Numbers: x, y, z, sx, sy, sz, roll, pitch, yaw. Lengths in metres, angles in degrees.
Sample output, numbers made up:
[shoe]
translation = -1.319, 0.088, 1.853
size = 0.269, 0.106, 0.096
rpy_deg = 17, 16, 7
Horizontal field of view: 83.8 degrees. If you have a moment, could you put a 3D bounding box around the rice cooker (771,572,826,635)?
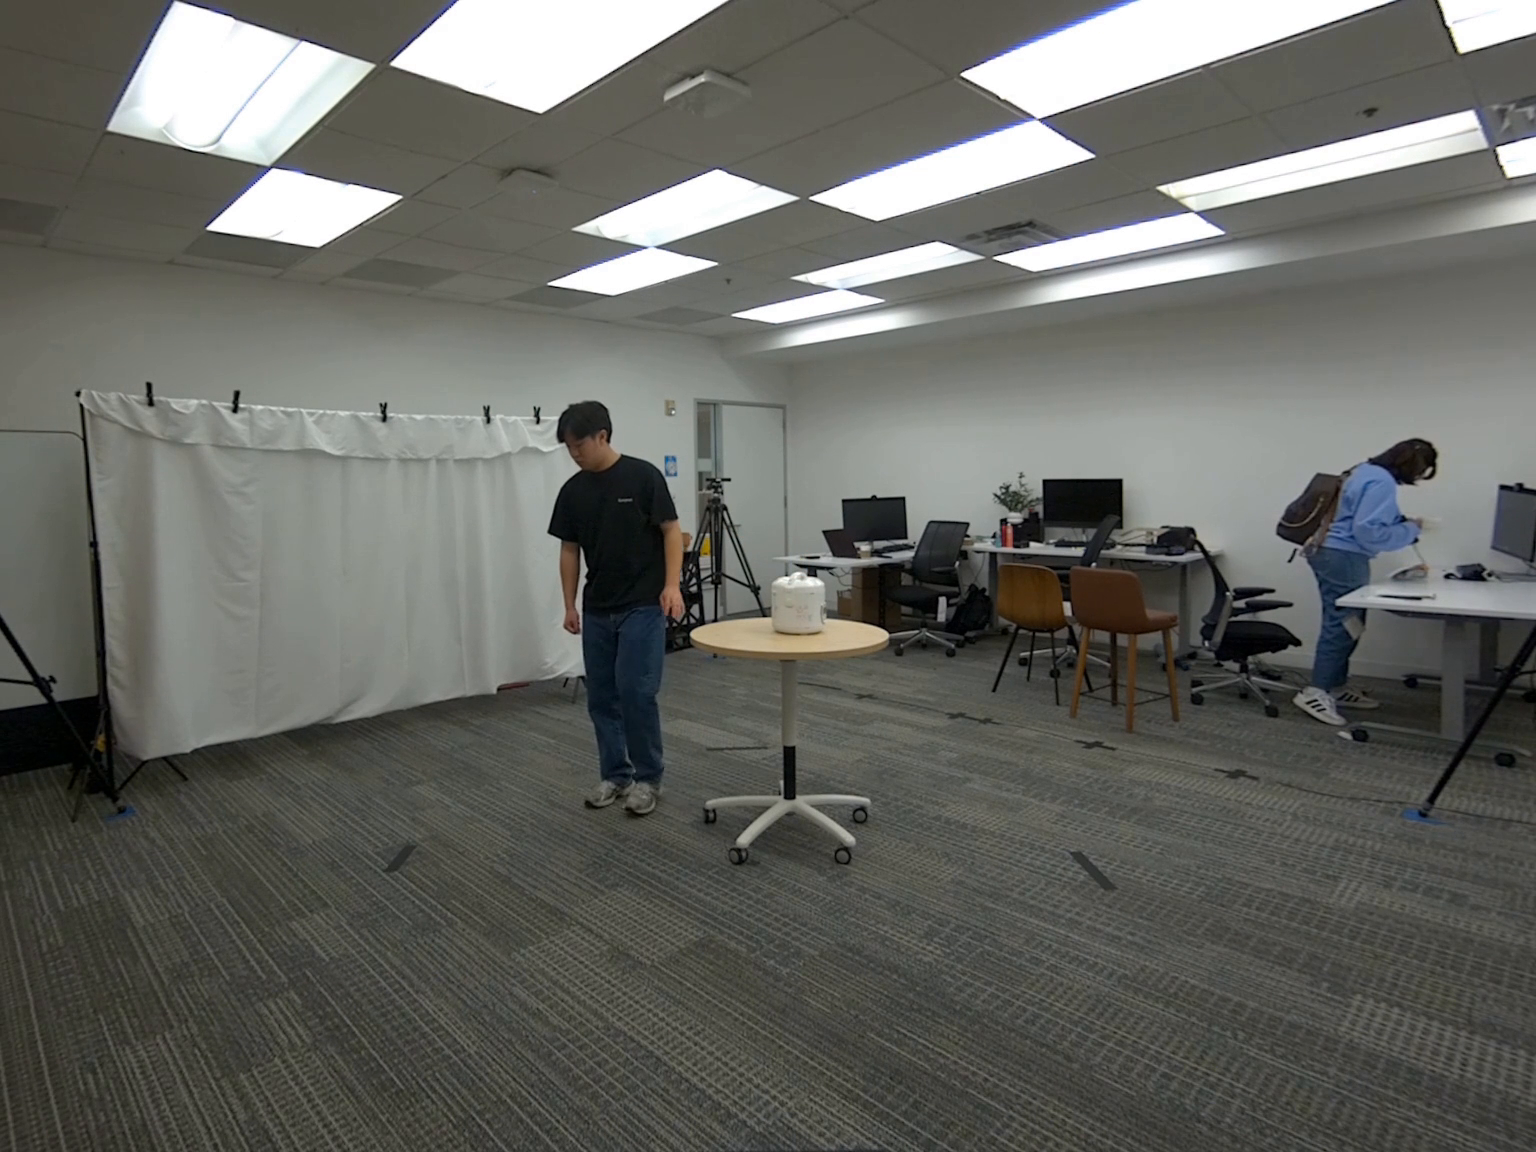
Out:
[rice cooker]
translation = 0.122, 0.099, 3.347
size = 0.222, 0.232, 0.216
rpy_deg = 1, 5, 24
